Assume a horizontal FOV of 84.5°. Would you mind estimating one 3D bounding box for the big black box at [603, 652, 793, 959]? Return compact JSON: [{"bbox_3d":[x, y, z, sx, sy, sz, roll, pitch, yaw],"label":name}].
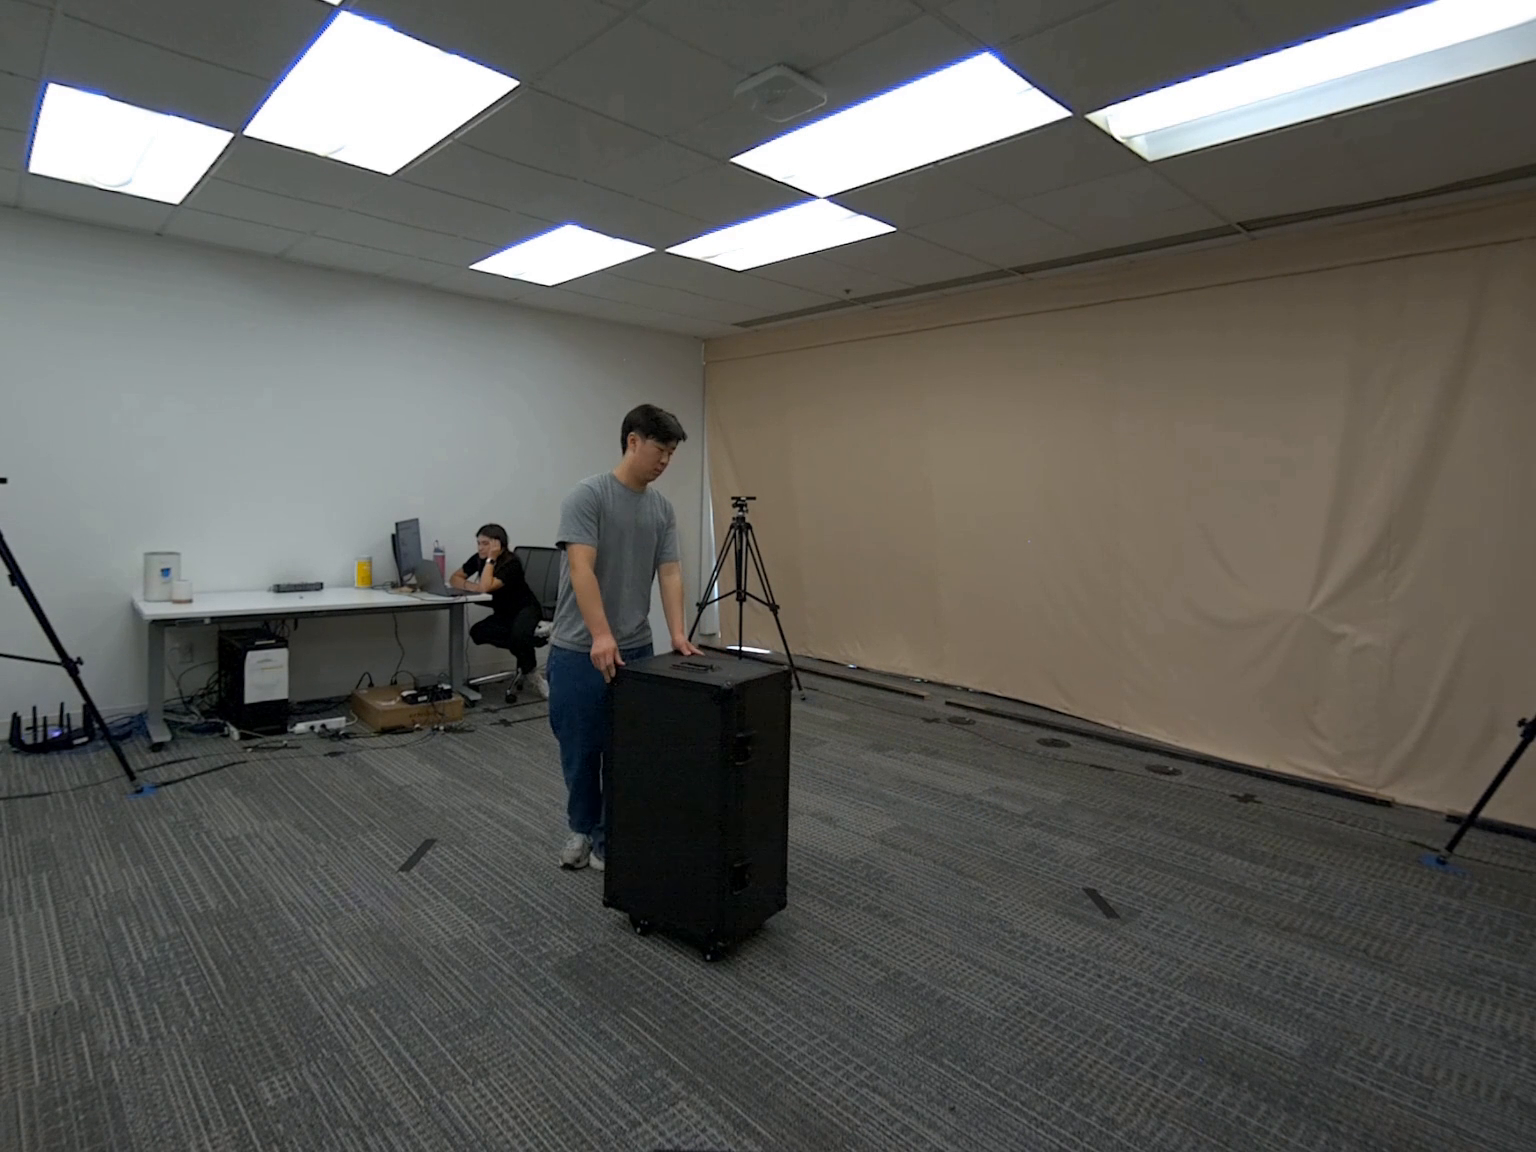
[{"bbox_3d":[-0.228,0.716,2.707,0.533,0.860,0.388,3,3,33],"label":"big black box"}]
